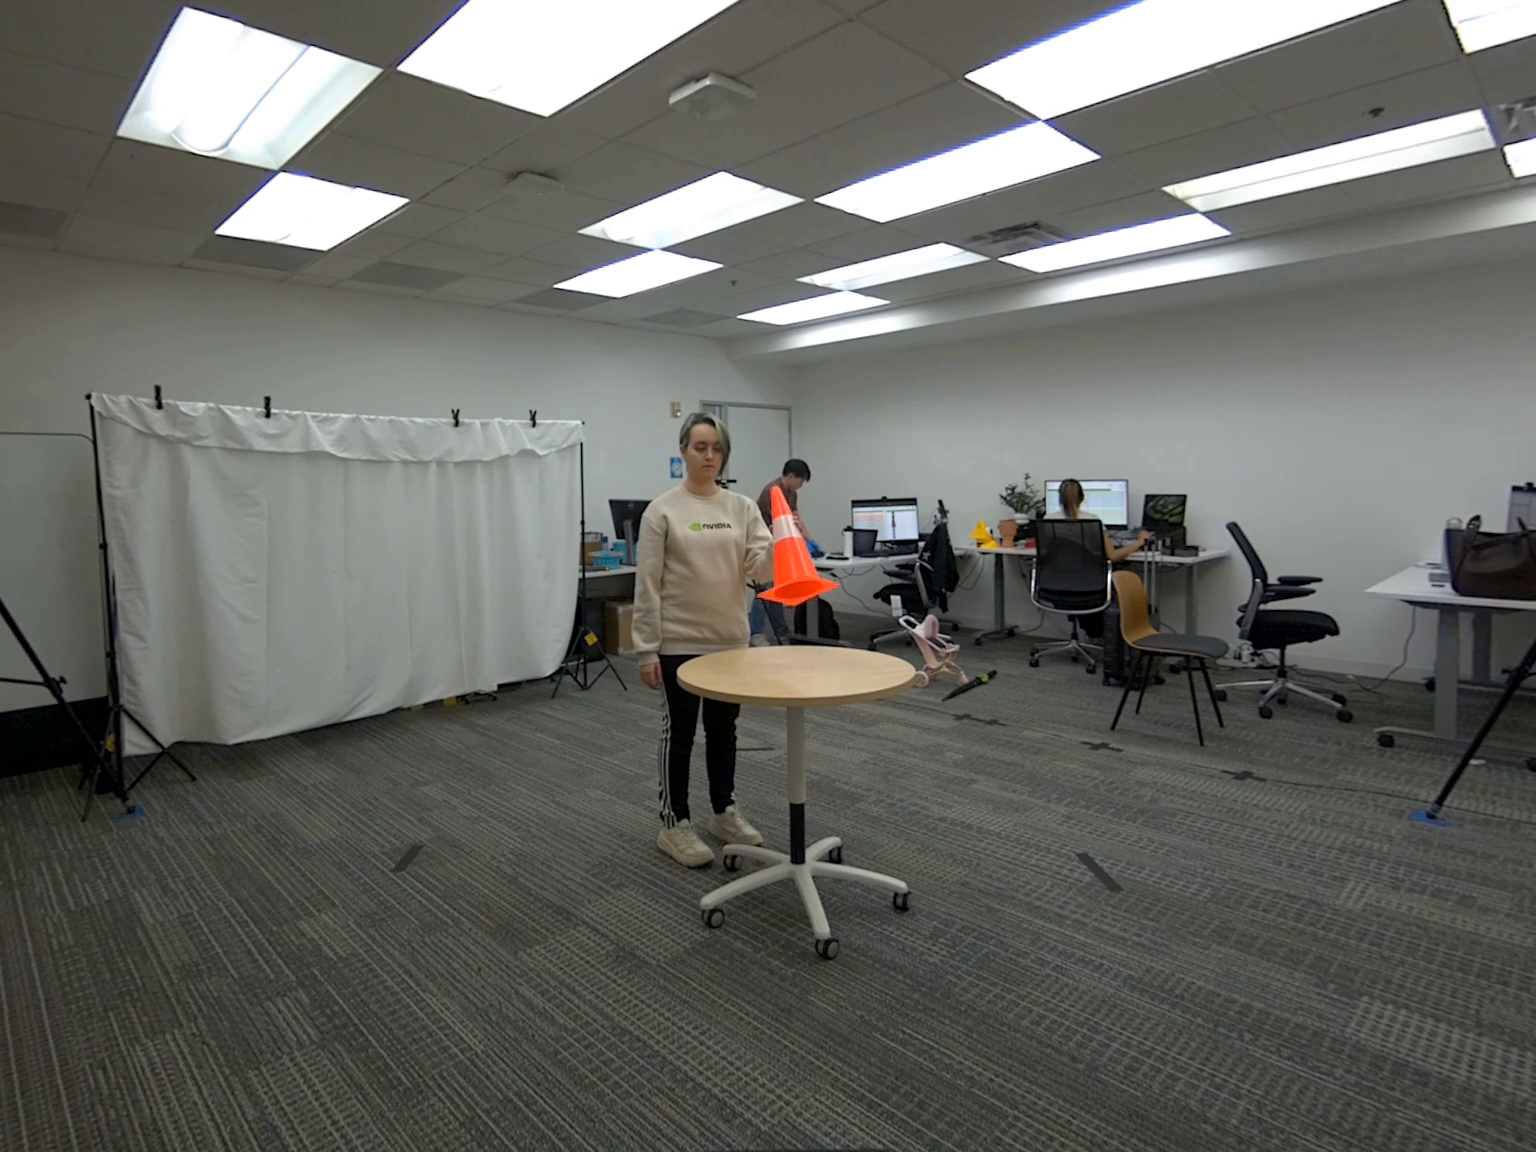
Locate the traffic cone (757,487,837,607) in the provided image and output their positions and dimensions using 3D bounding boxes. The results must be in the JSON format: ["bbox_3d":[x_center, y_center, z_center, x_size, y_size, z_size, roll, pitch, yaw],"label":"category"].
[{"bbox_3d":[0.061,-0.115,2.849,0.206,0.392,0.198,-28,-27,35],"label":"traffic cone"}]
